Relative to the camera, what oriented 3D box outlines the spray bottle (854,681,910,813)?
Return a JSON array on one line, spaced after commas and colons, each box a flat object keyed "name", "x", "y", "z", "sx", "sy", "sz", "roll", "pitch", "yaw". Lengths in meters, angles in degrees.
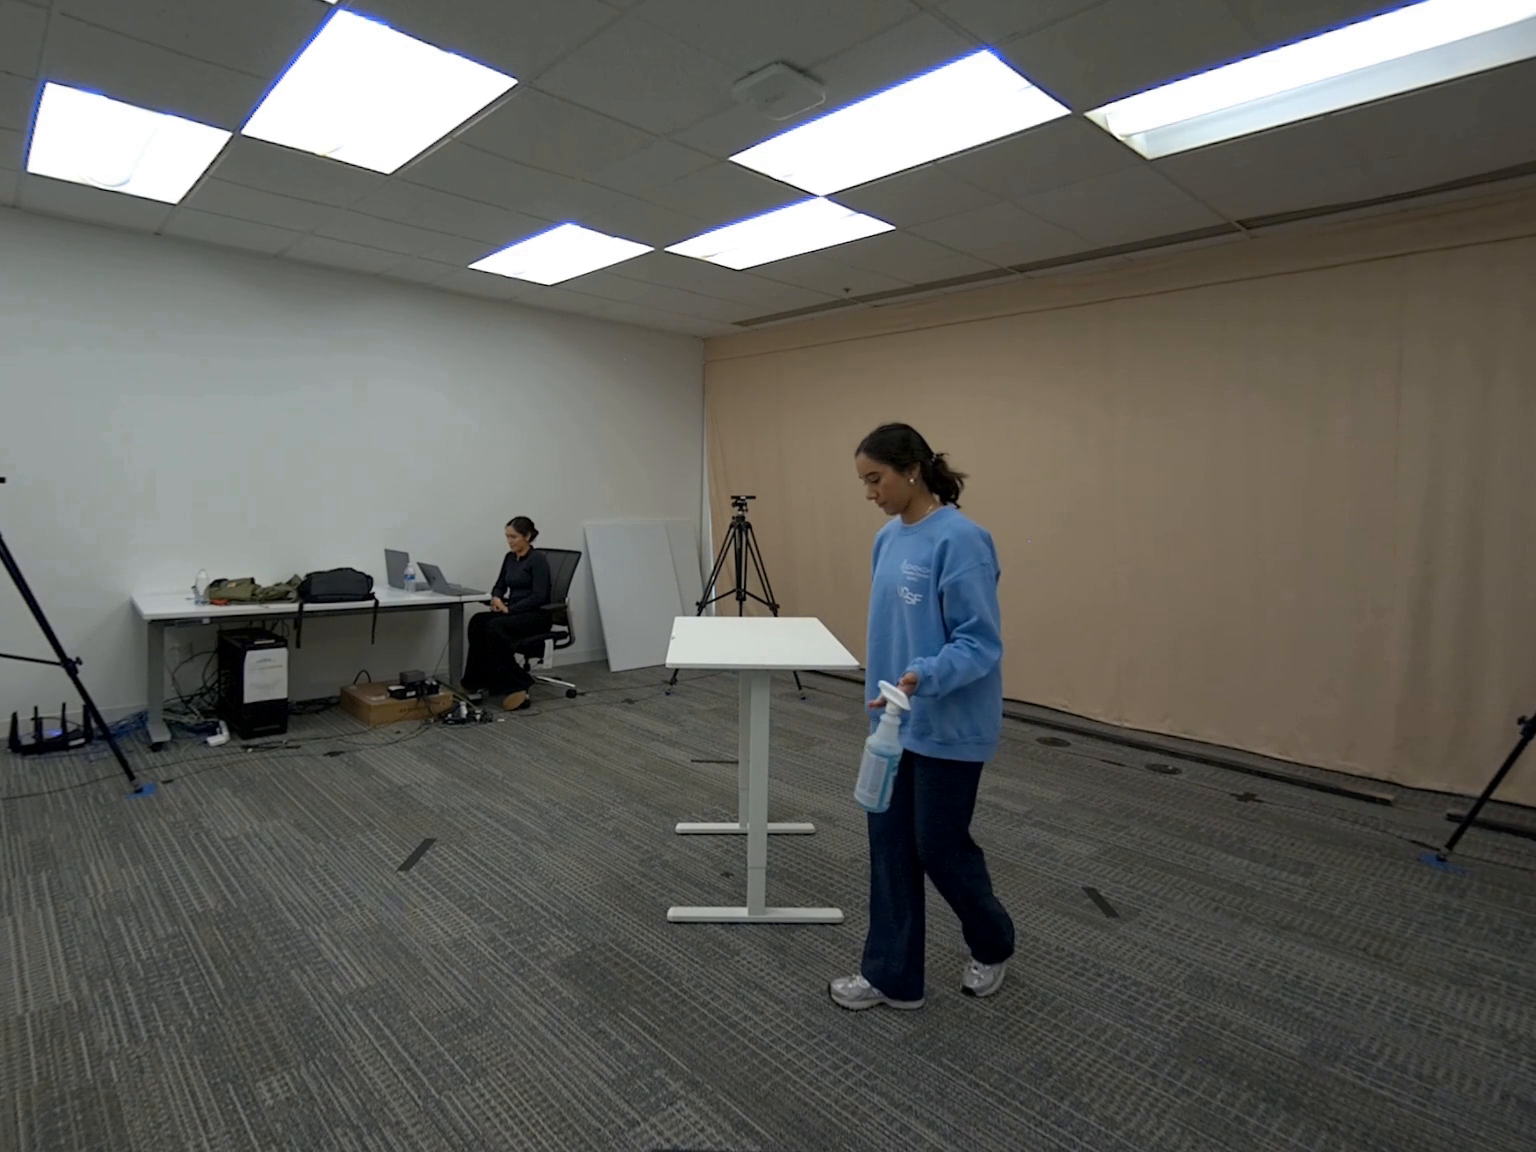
[{"name": "spray bottle", "x": 0.260, "y": 0.403, "z": 1.957, "sx": 0.086, "sy": 0.295, "sz": 0.092, "roll": 3, "pitch": 14, "yaw": -19}]
